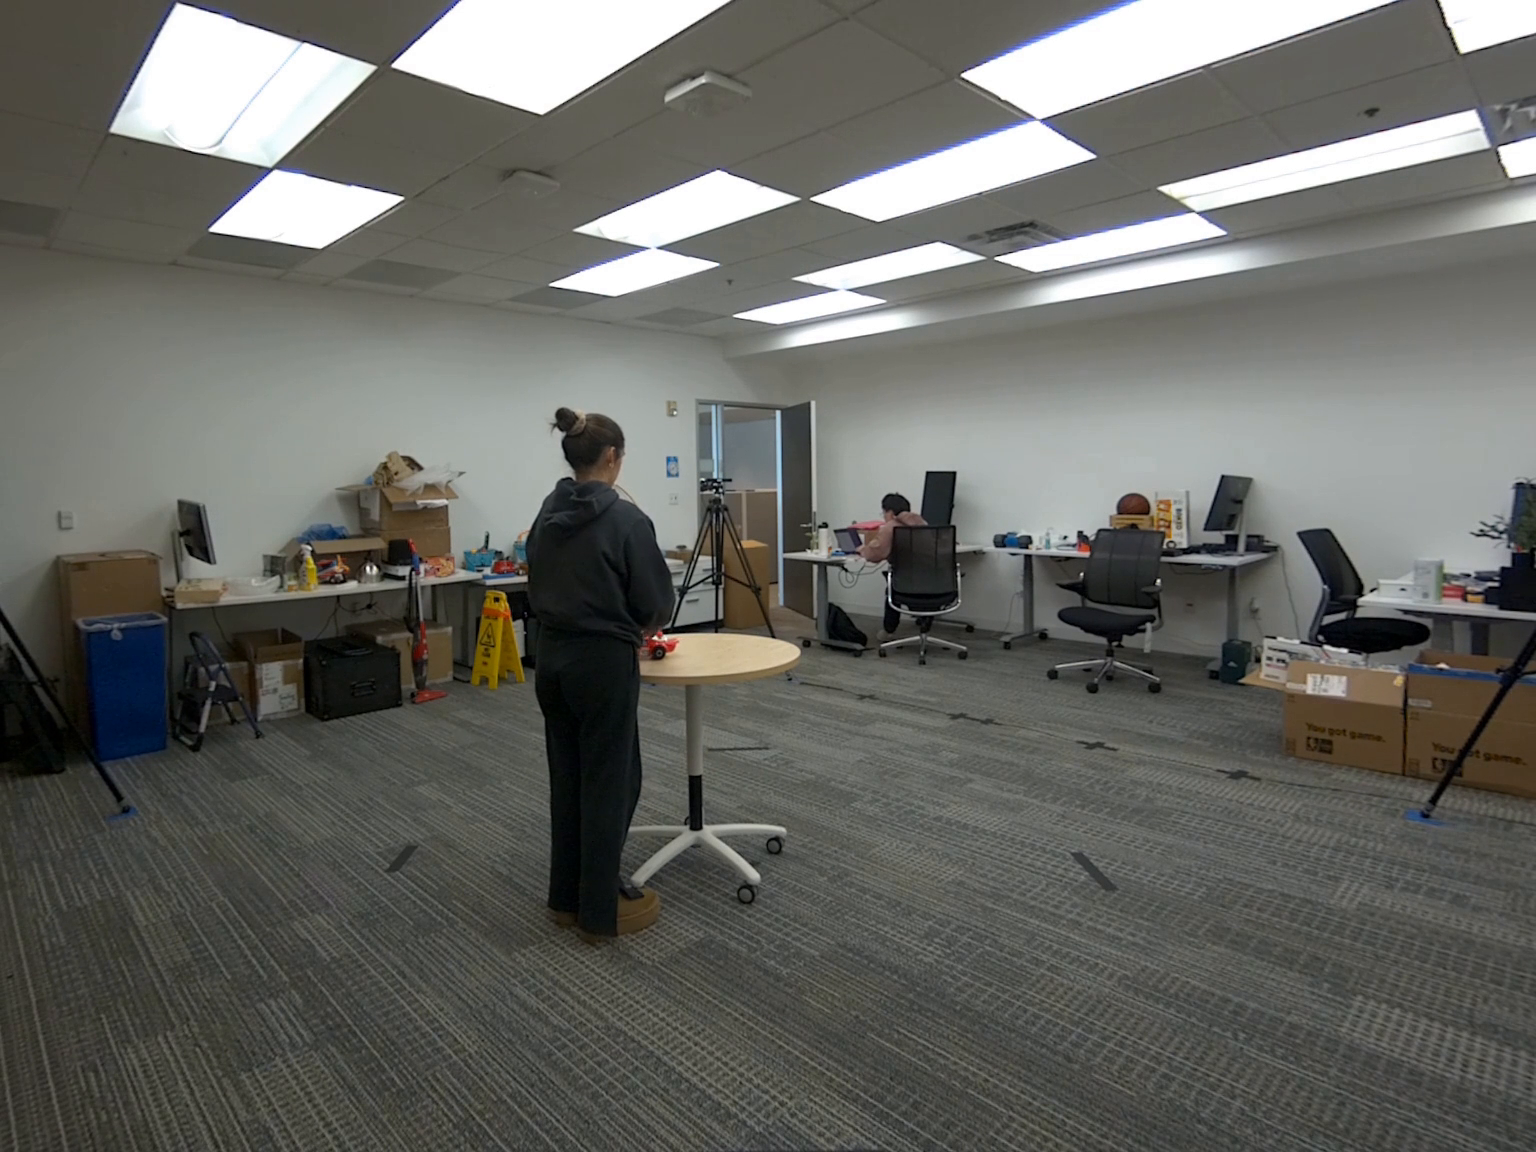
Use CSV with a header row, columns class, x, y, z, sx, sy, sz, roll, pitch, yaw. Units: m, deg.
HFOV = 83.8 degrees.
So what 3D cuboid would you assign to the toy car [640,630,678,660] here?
class,x,y,z,sx,sy,sz,roll,pitch,yaw
toy car,-0.434,0.255,2.953,0.253,0.083,0.132,-15,7,-9
